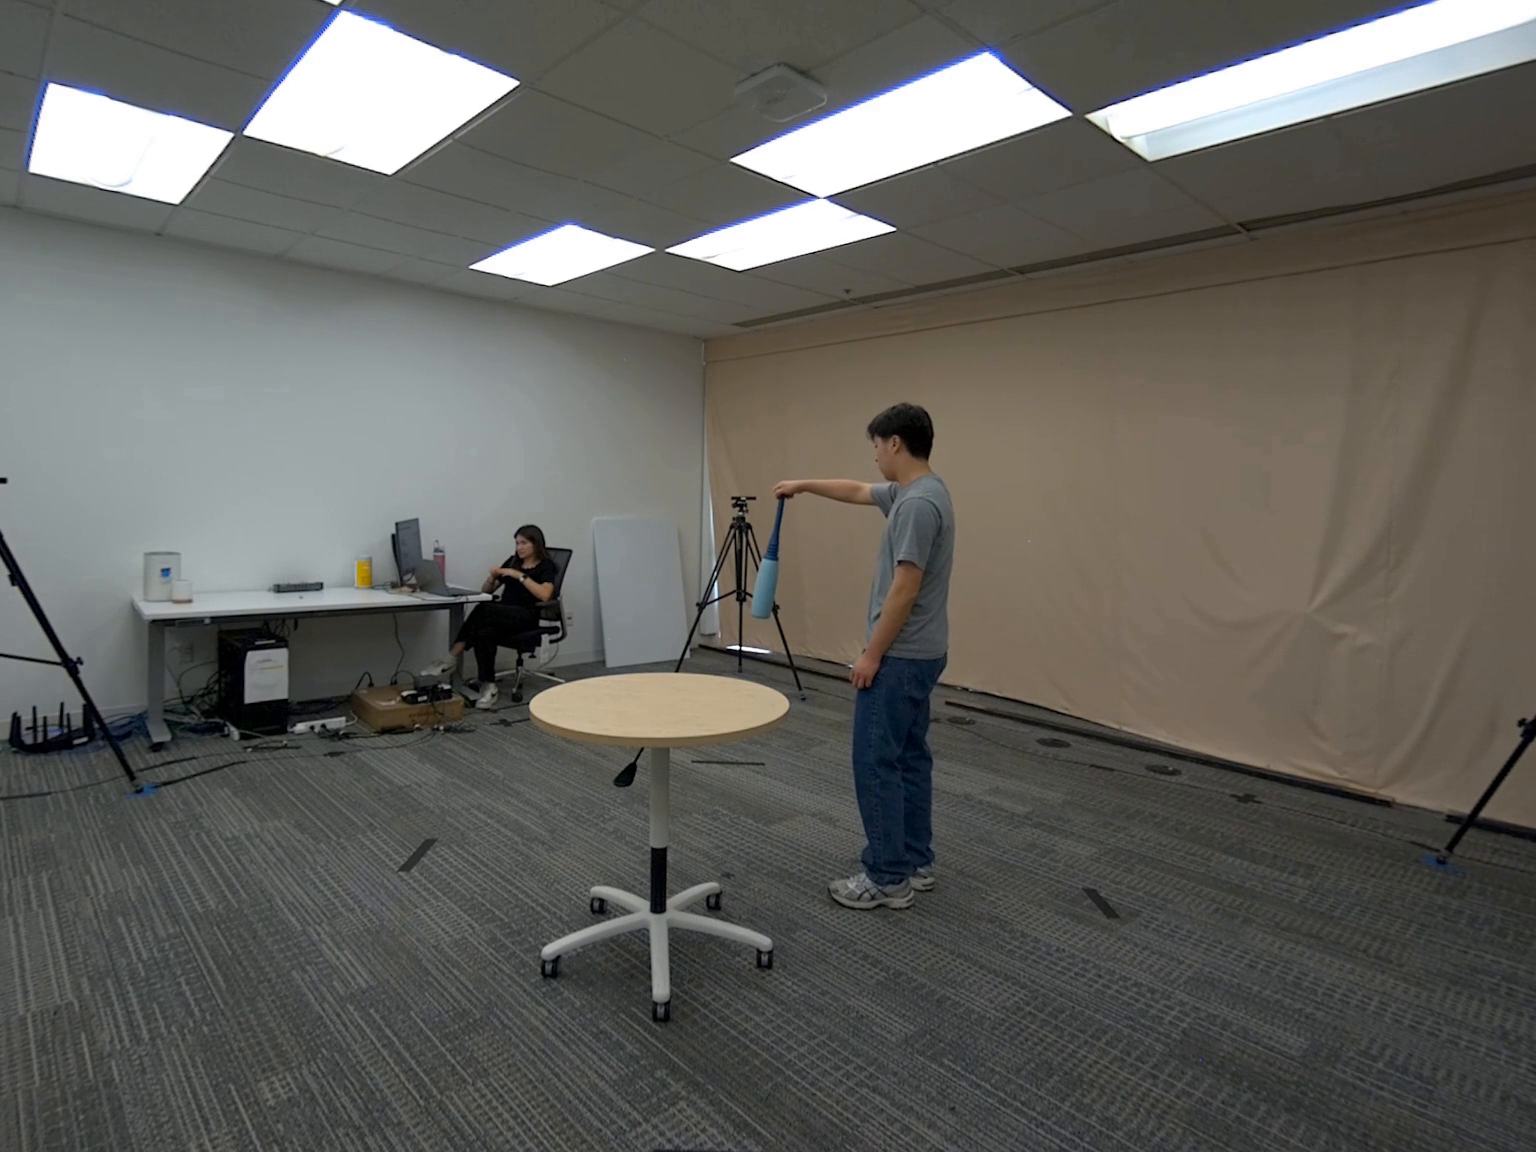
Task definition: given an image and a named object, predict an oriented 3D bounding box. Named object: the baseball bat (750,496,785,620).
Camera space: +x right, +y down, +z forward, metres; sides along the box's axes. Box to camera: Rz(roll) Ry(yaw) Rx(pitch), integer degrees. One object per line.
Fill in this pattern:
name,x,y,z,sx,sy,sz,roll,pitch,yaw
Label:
baseball bat,0.014,-0.083,3.507,0.089,0.541,0.089,9,6,-2
